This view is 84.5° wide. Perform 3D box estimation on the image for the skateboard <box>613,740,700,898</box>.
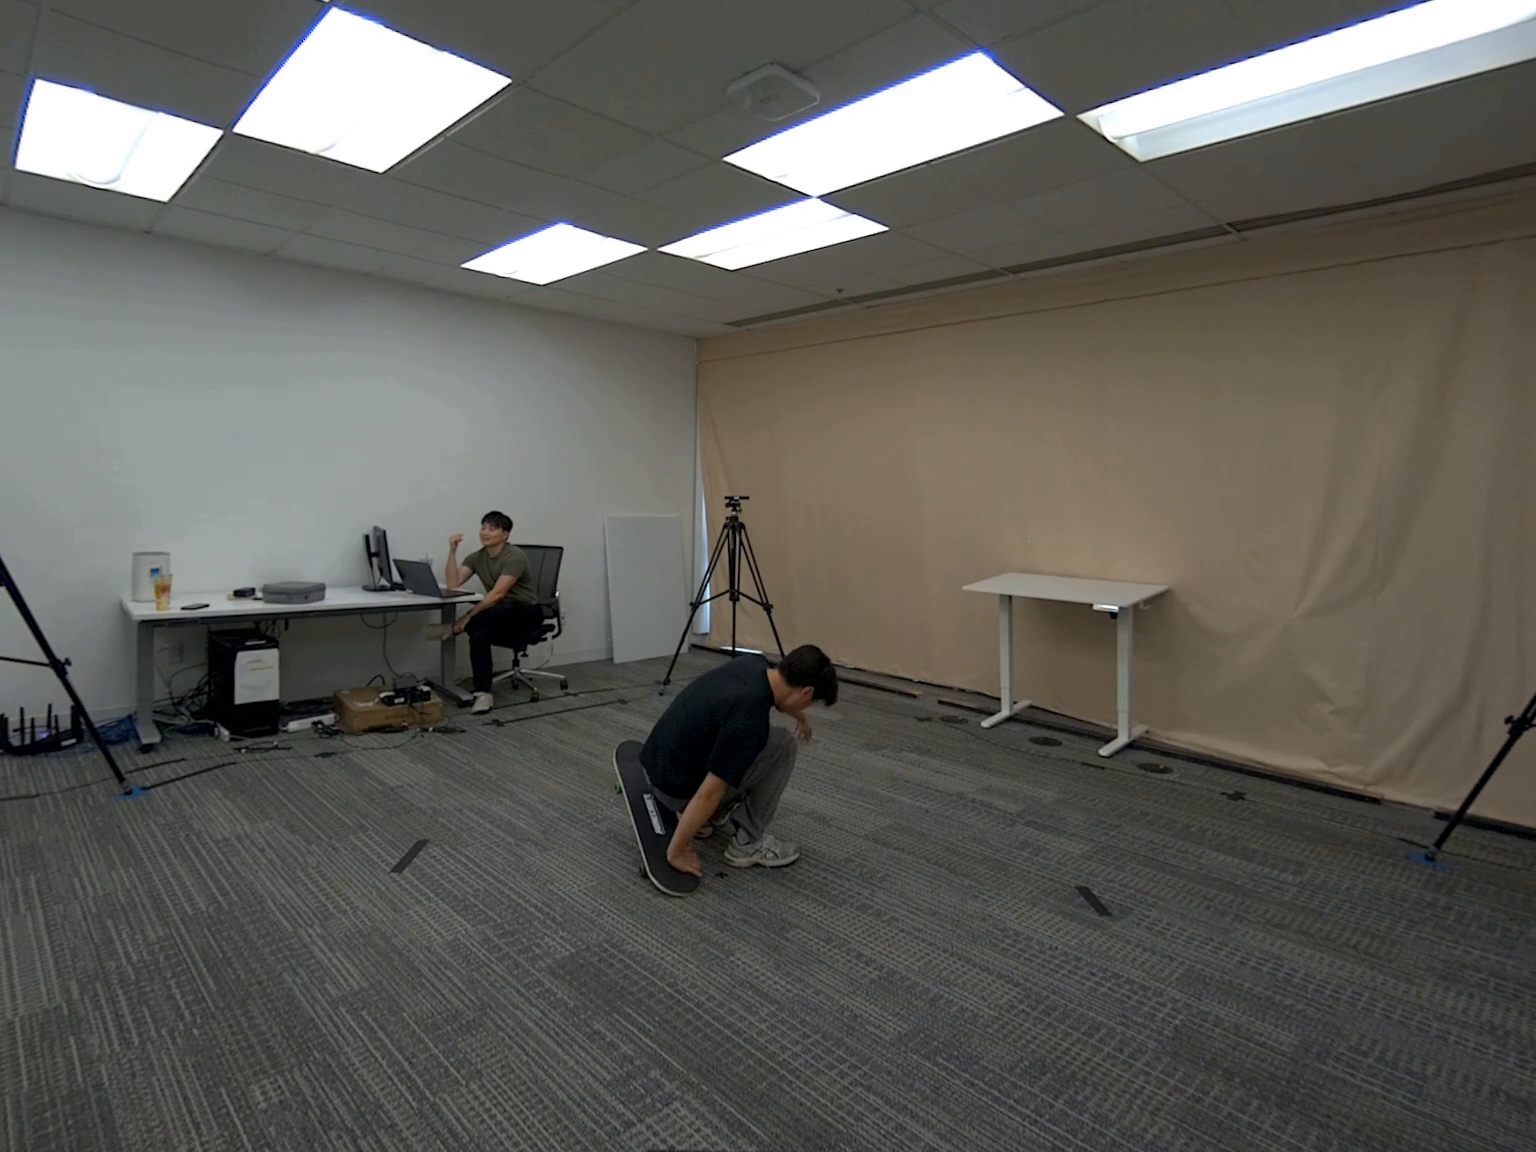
[{"bbox_3d":[-0.447,0.937,3.261,0.189,0.109,0.809,9,26,-27],"label":"skateboard"}]
